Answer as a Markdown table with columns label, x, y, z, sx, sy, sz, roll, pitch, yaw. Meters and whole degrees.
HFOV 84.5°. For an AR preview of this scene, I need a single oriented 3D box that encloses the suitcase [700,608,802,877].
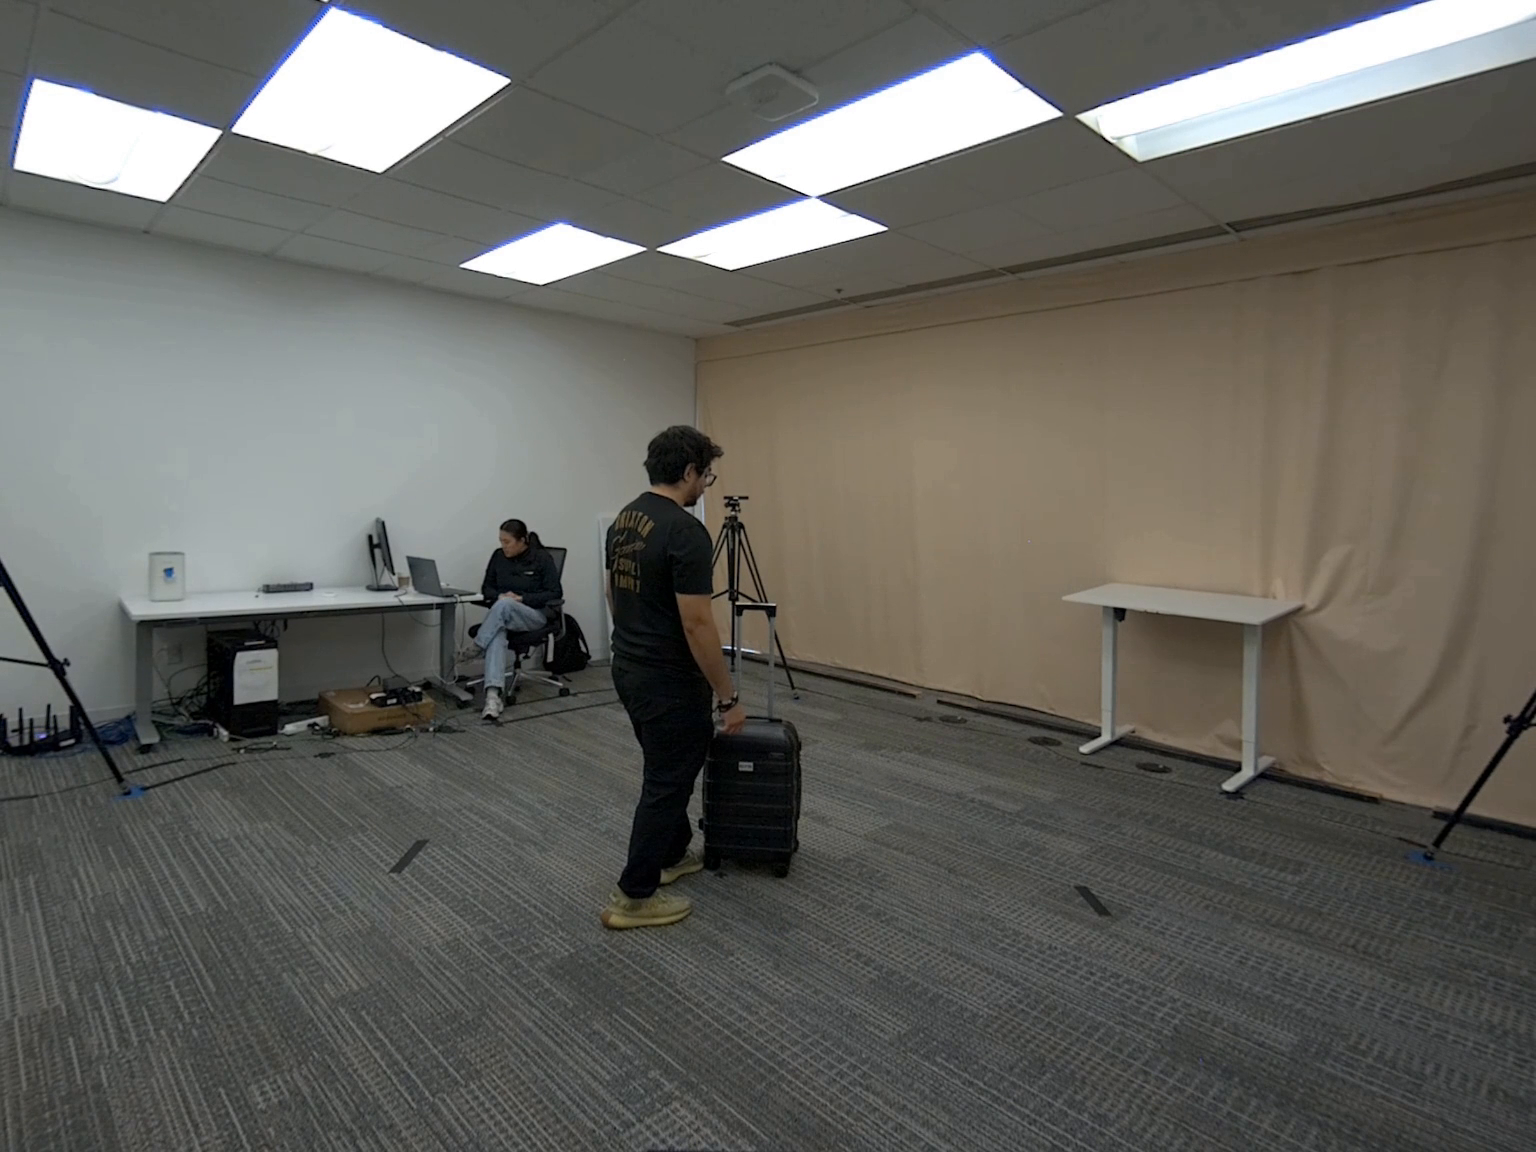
| label | x | y | z | sx | sy | sz | roll | pitch | yaw |
| --- | --- | --- | --- | --- | --- | --- | --- | --- | --- |
| suitcase | -0.059 | 0.616 | 3.196 | 0.386 | 0.975 | 0.257 | 2 | 5 | 5 |
